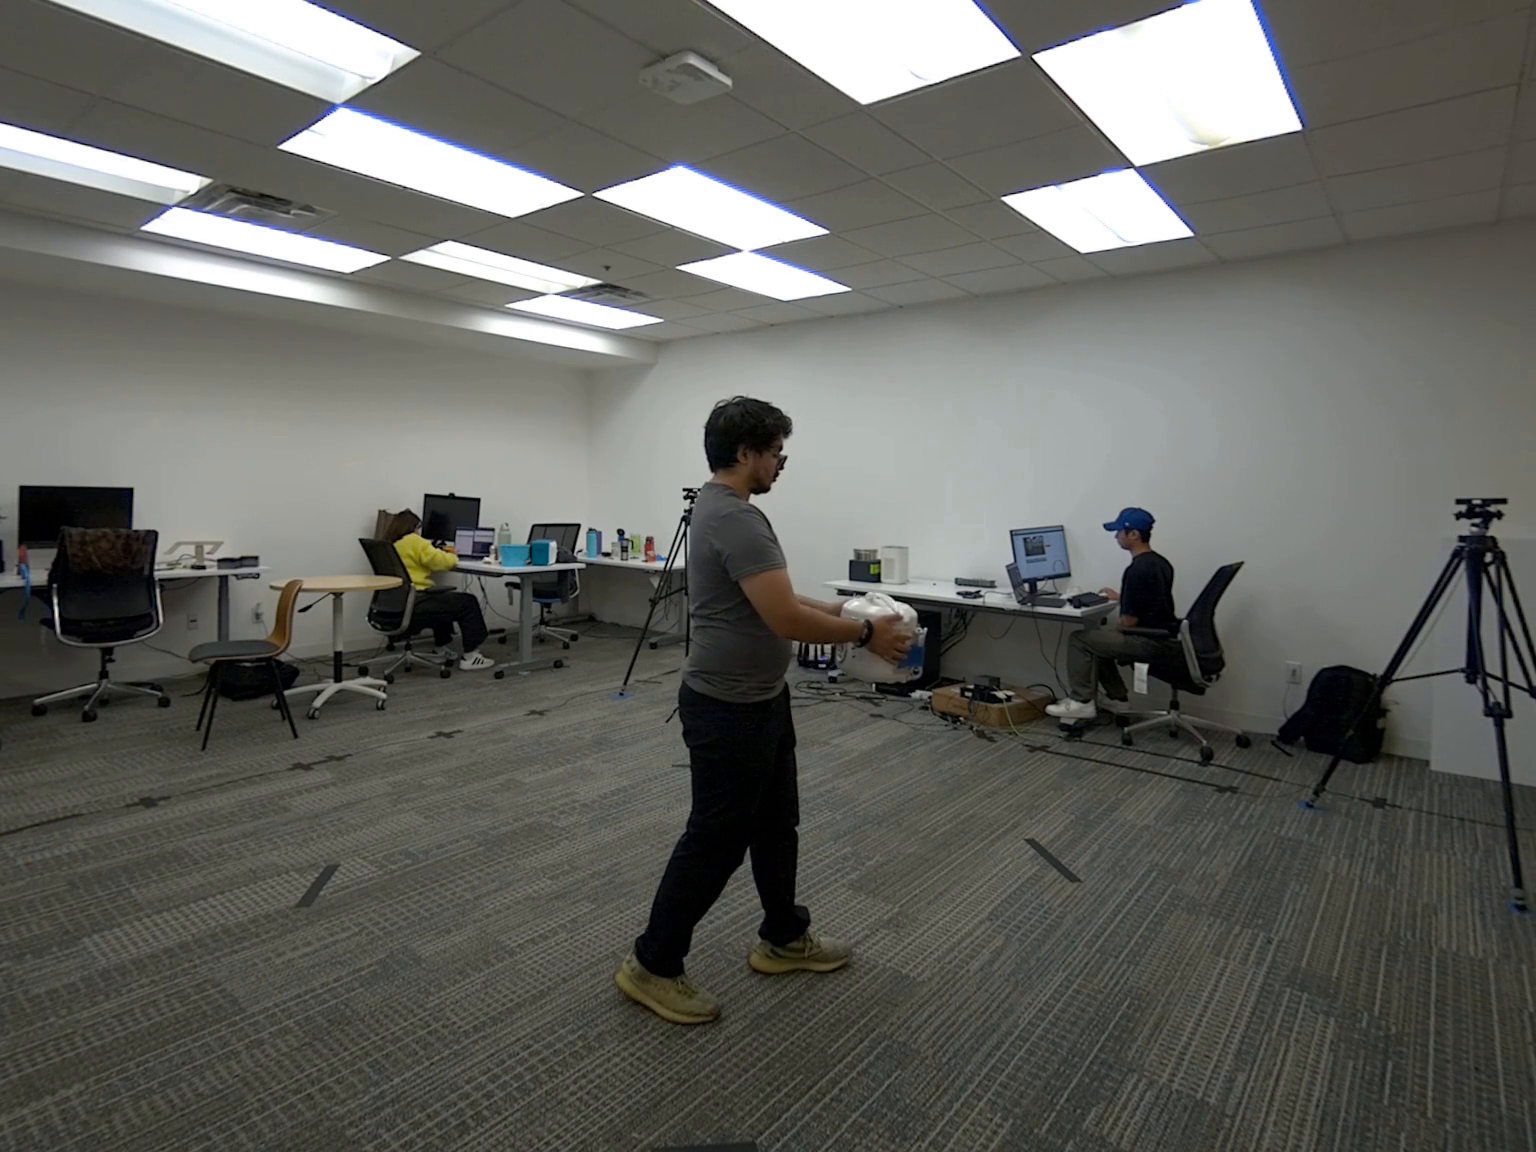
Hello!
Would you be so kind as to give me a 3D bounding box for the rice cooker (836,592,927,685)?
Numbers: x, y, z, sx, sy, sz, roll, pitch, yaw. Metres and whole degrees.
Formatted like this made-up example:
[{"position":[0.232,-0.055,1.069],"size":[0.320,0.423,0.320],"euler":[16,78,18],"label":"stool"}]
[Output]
[{"position":[0.300,0.164,2.354],"size":[0.213,0.231,0.227],"euler":[3,7,-22],"label":"rice cooker"}]
